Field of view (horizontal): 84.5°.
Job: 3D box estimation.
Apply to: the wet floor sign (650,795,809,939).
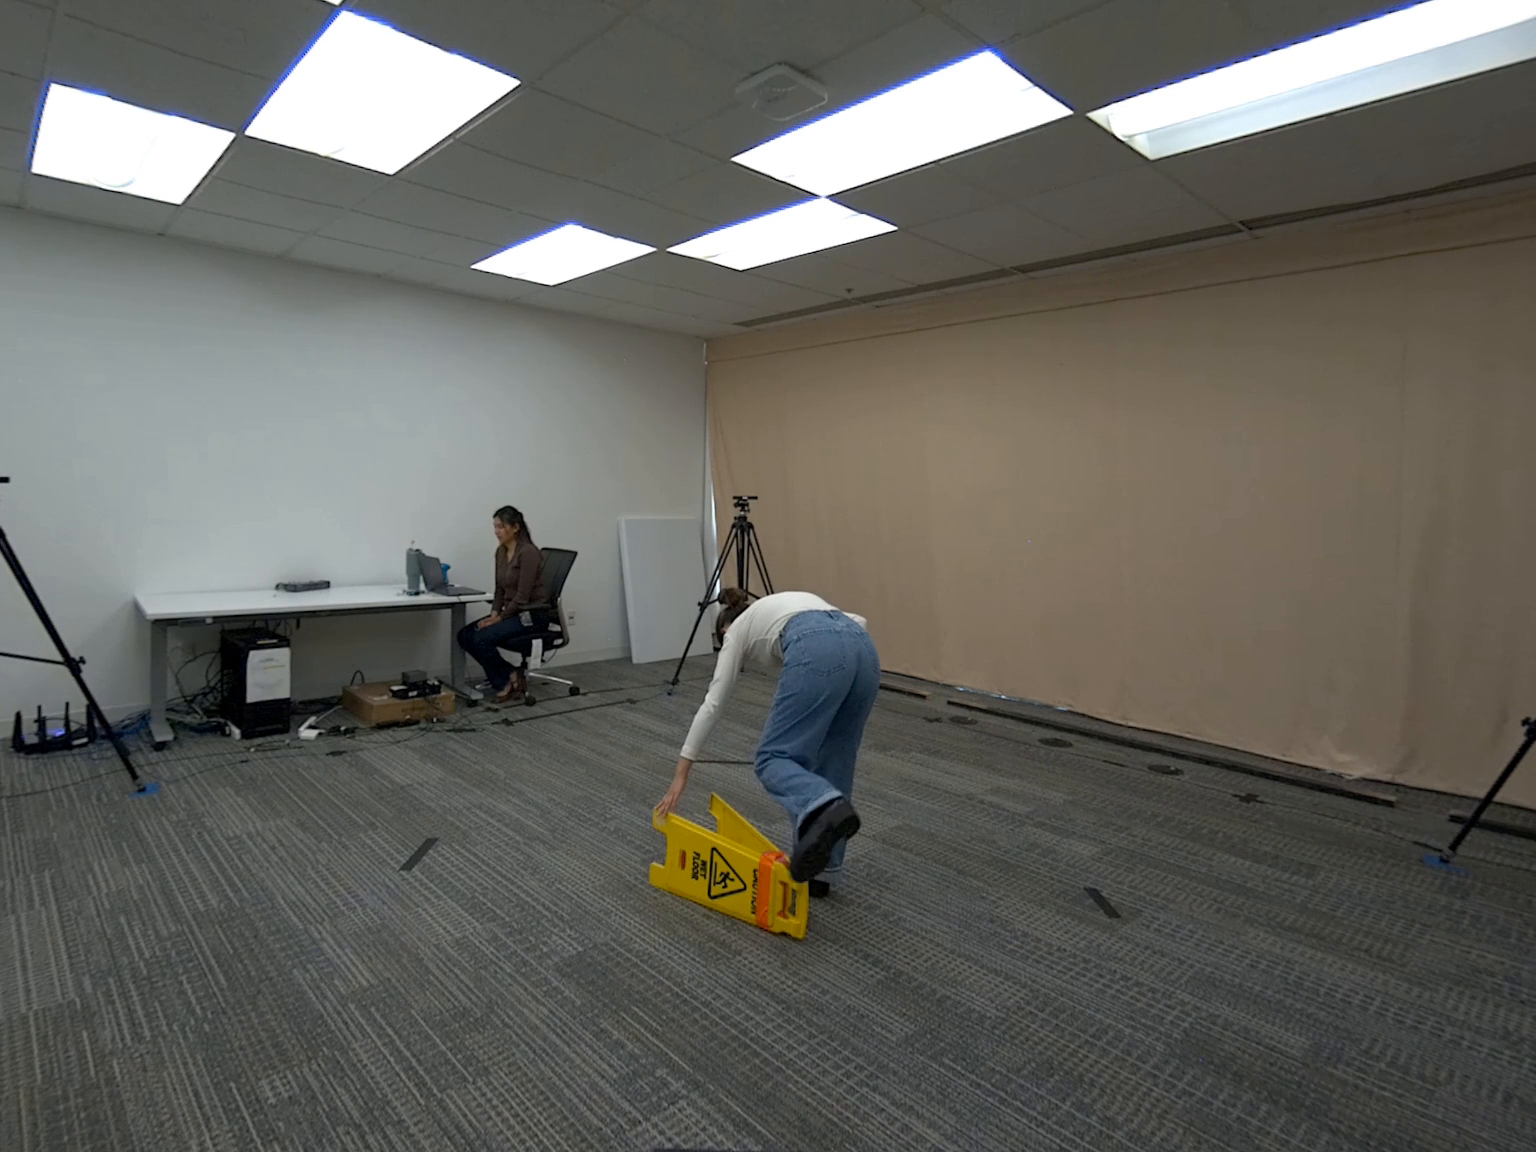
[{"bbox_3d":[-0.108,0.998,2.856,0.283,0.281,0.663,-2,8,-41],"label":"wet floor sign"}]
